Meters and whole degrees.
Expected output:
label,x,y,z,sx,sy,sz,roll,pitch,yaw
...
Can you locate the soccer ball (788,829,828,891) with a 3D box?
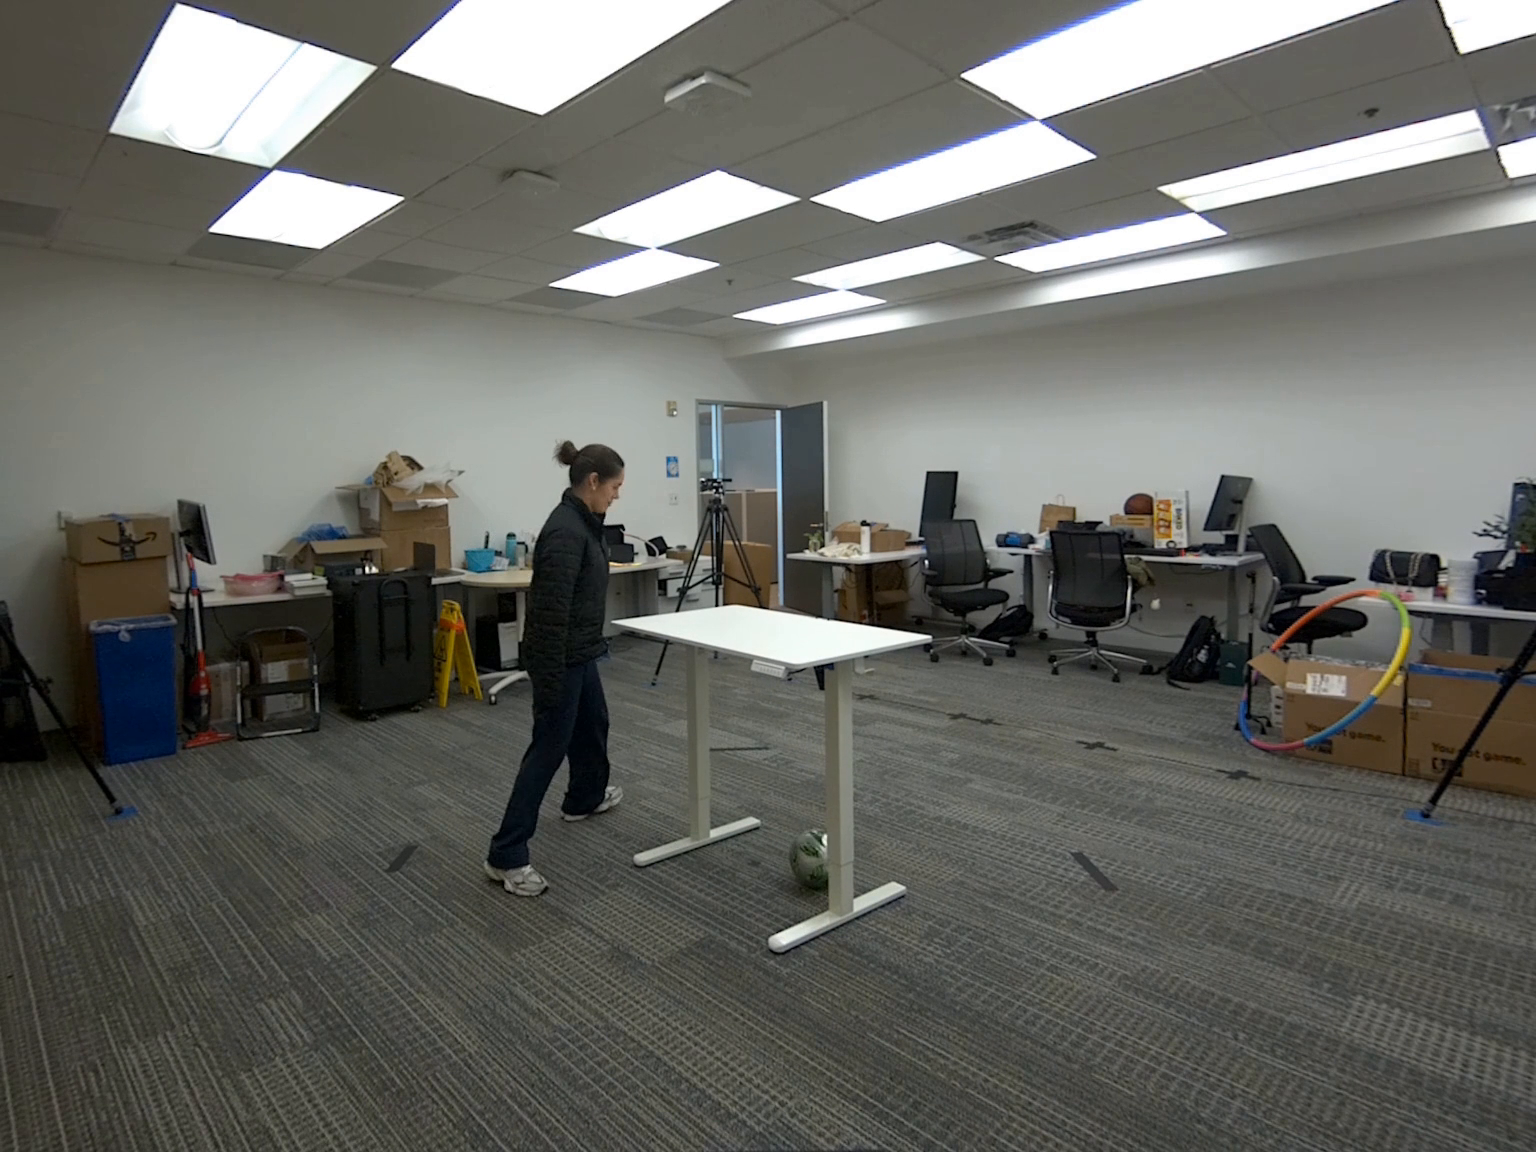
label,x,y,z,sx,sy,sz,roll,pitch,yaw
soccer ball,0.170,0.964,2.927,0.187,0.187,0.188,-1,5,-2
